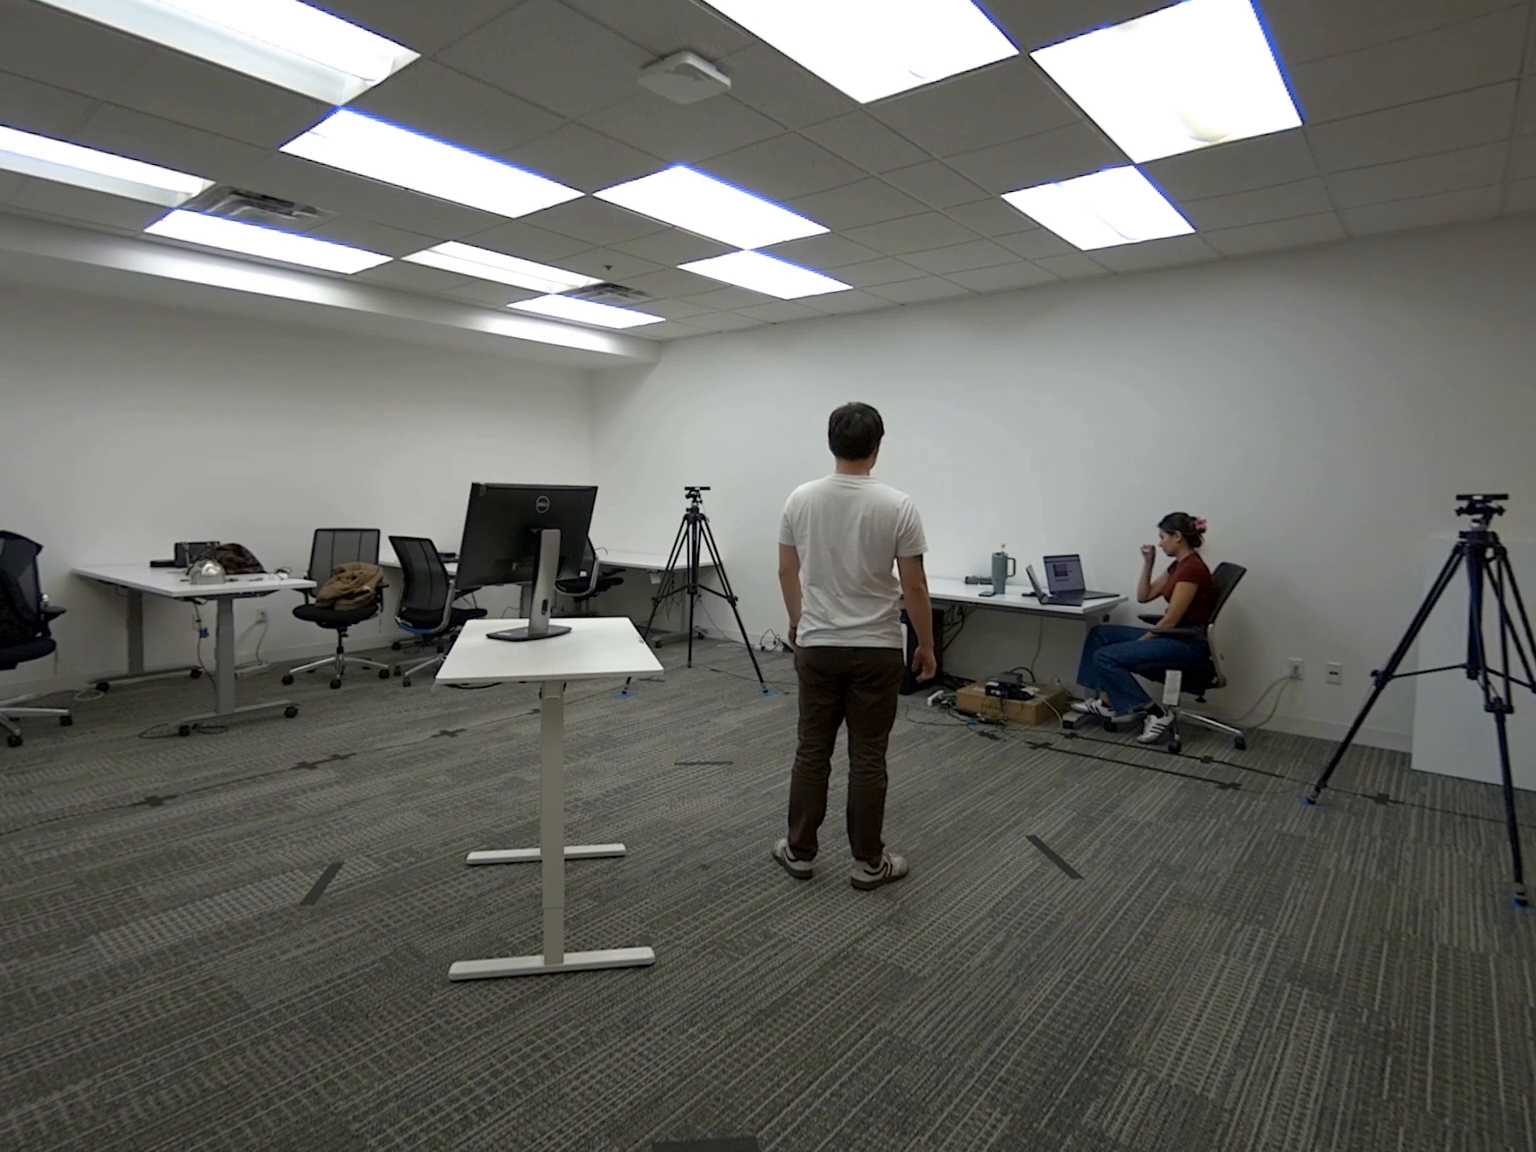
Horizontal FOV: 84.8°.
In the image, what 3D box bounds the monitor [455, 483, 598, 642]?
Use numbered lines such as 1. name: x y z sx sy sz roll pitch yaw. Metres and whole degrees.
1. monitor: -0.809 -0.051 2.878 0.193 0.521 0.524 6 6 33
